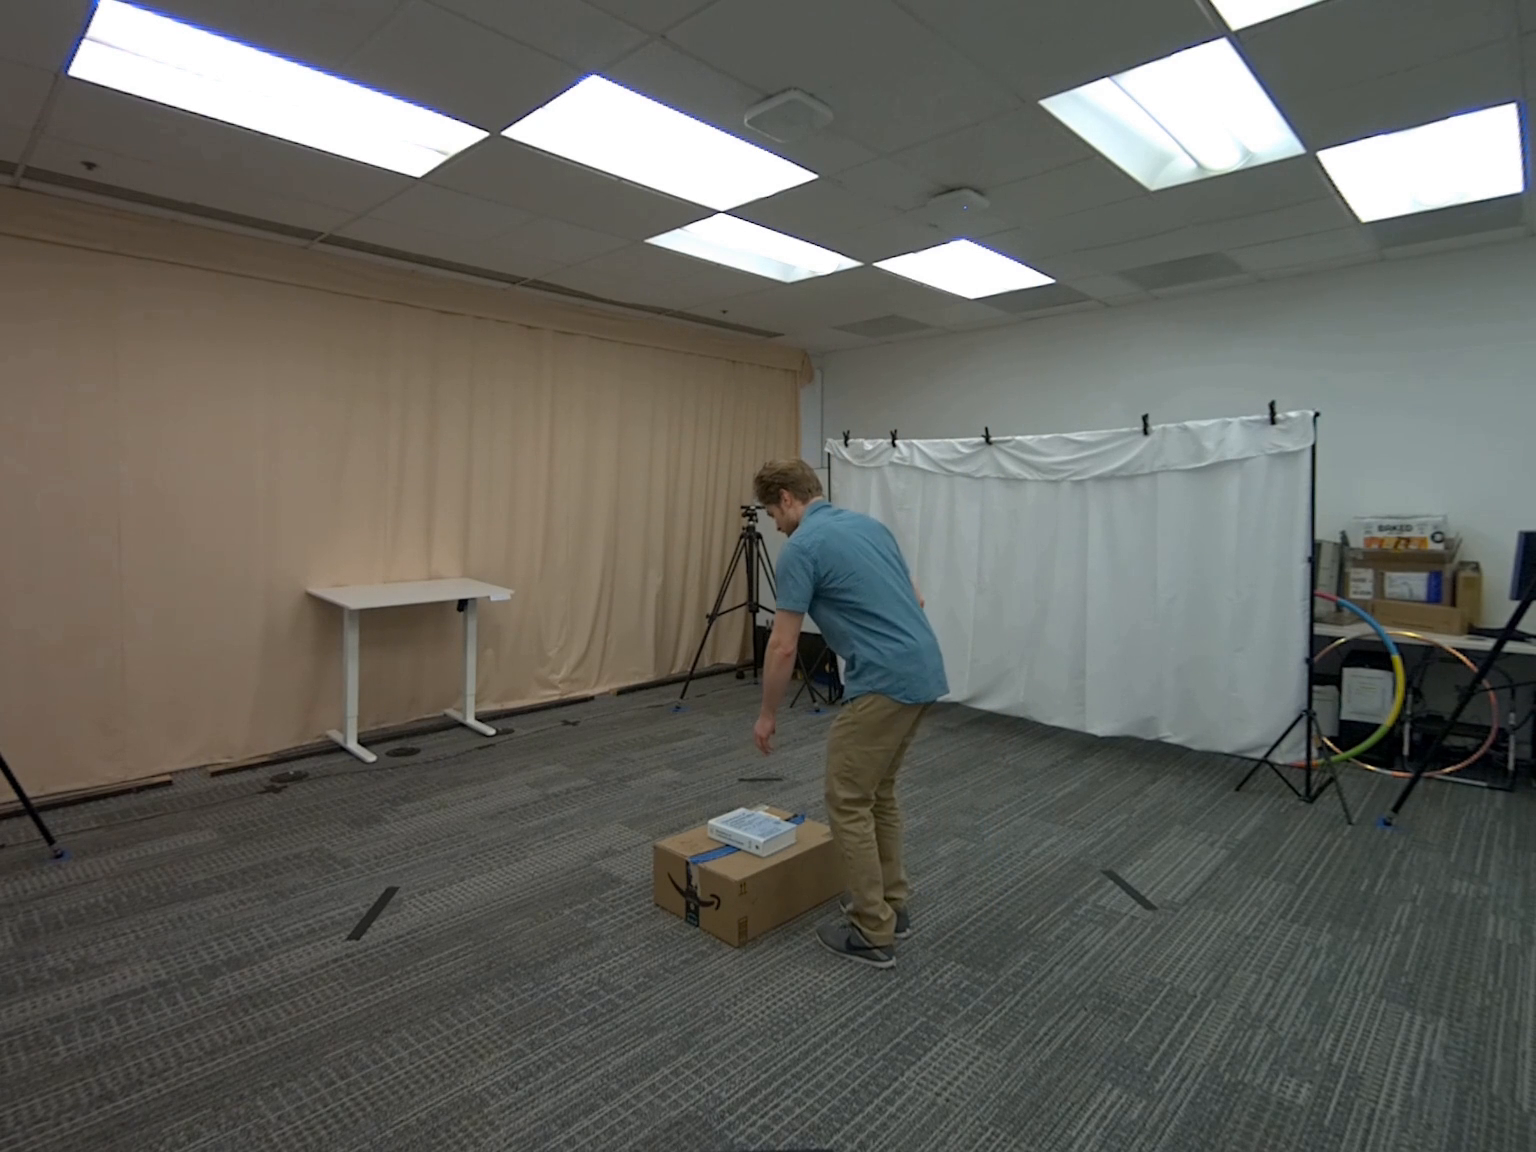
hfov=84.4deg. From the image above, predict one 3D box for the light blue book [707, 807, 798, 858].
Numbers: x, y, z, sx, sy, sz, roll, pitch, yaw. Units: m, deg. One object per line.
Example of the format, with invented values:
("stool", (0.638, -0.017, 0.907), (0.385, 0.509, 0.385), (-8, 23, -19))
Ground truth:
("light blue book", (-0.054, 0.902, 2.984), (0.270, 0.059, 0.185), (4, 6, 42))
